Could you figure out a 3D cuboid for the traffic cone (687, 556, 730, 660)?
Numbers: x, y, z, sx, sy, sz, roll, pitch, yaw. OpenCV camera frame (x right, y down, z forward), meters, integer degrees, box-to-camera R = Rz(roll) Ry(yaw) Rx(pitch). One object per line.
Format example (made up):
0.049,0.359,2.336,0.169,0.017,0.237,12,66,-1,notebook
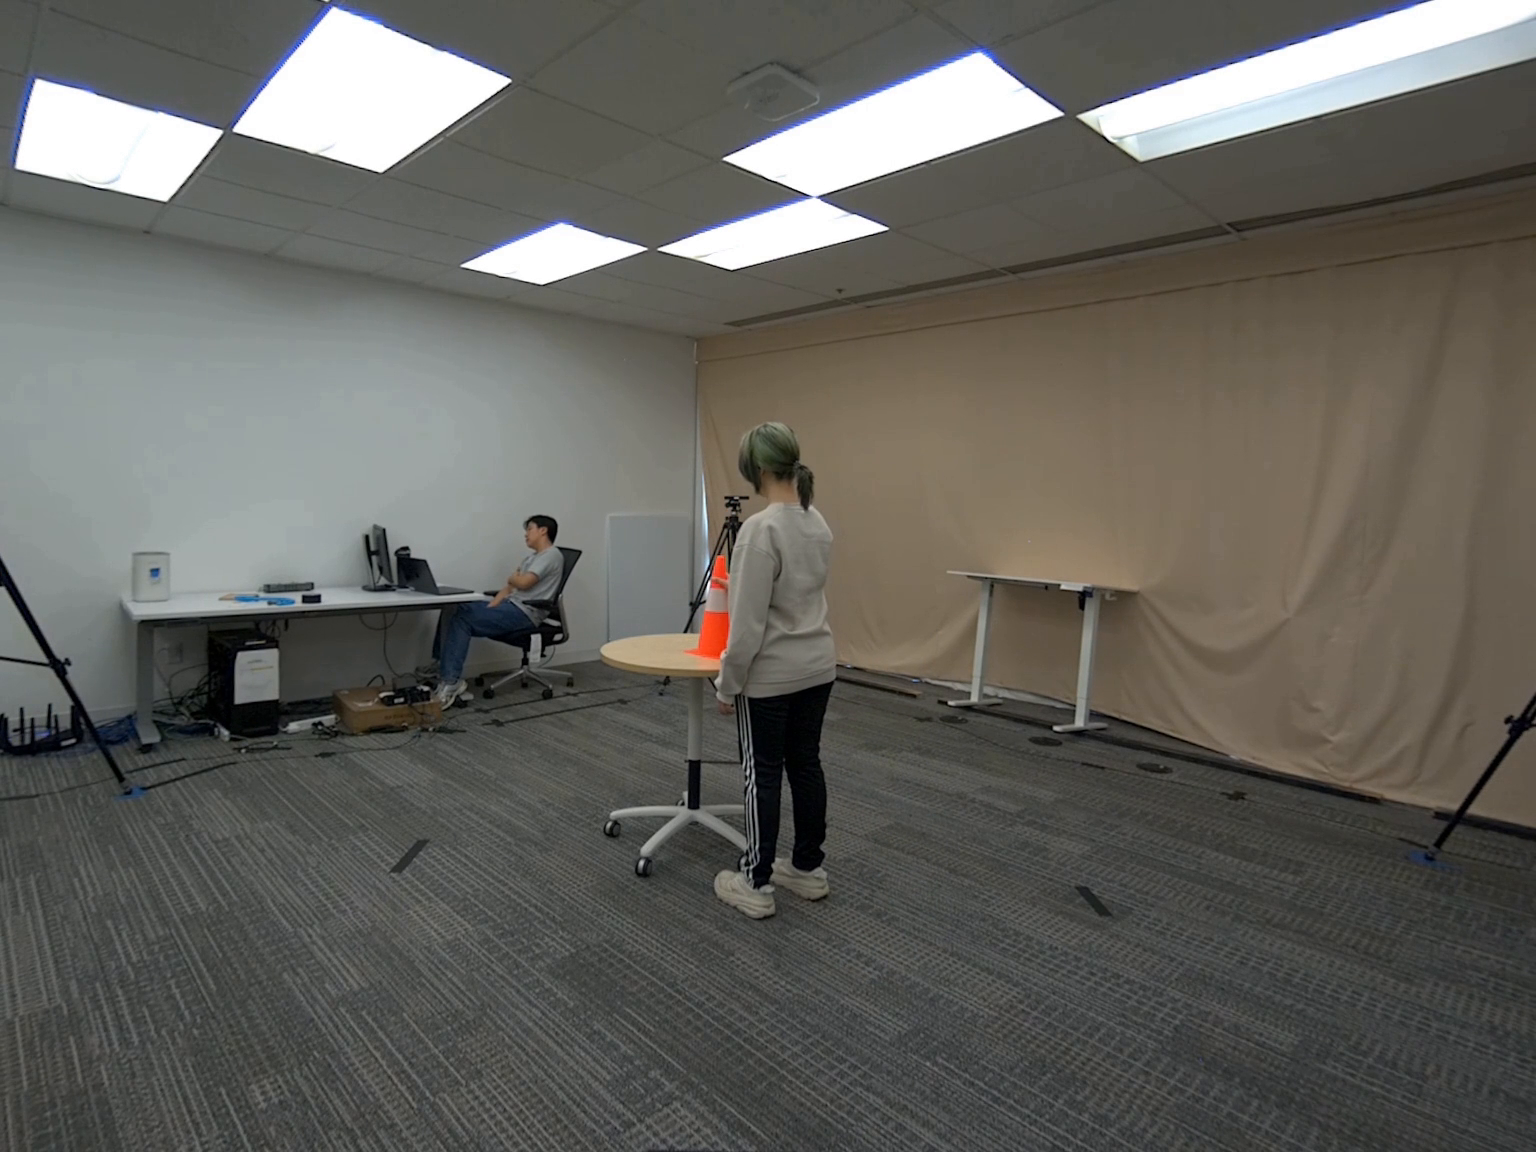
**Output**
-0.194,0.116,3.292,0.208,0.383,0.200,4,2,38,traffic cone
